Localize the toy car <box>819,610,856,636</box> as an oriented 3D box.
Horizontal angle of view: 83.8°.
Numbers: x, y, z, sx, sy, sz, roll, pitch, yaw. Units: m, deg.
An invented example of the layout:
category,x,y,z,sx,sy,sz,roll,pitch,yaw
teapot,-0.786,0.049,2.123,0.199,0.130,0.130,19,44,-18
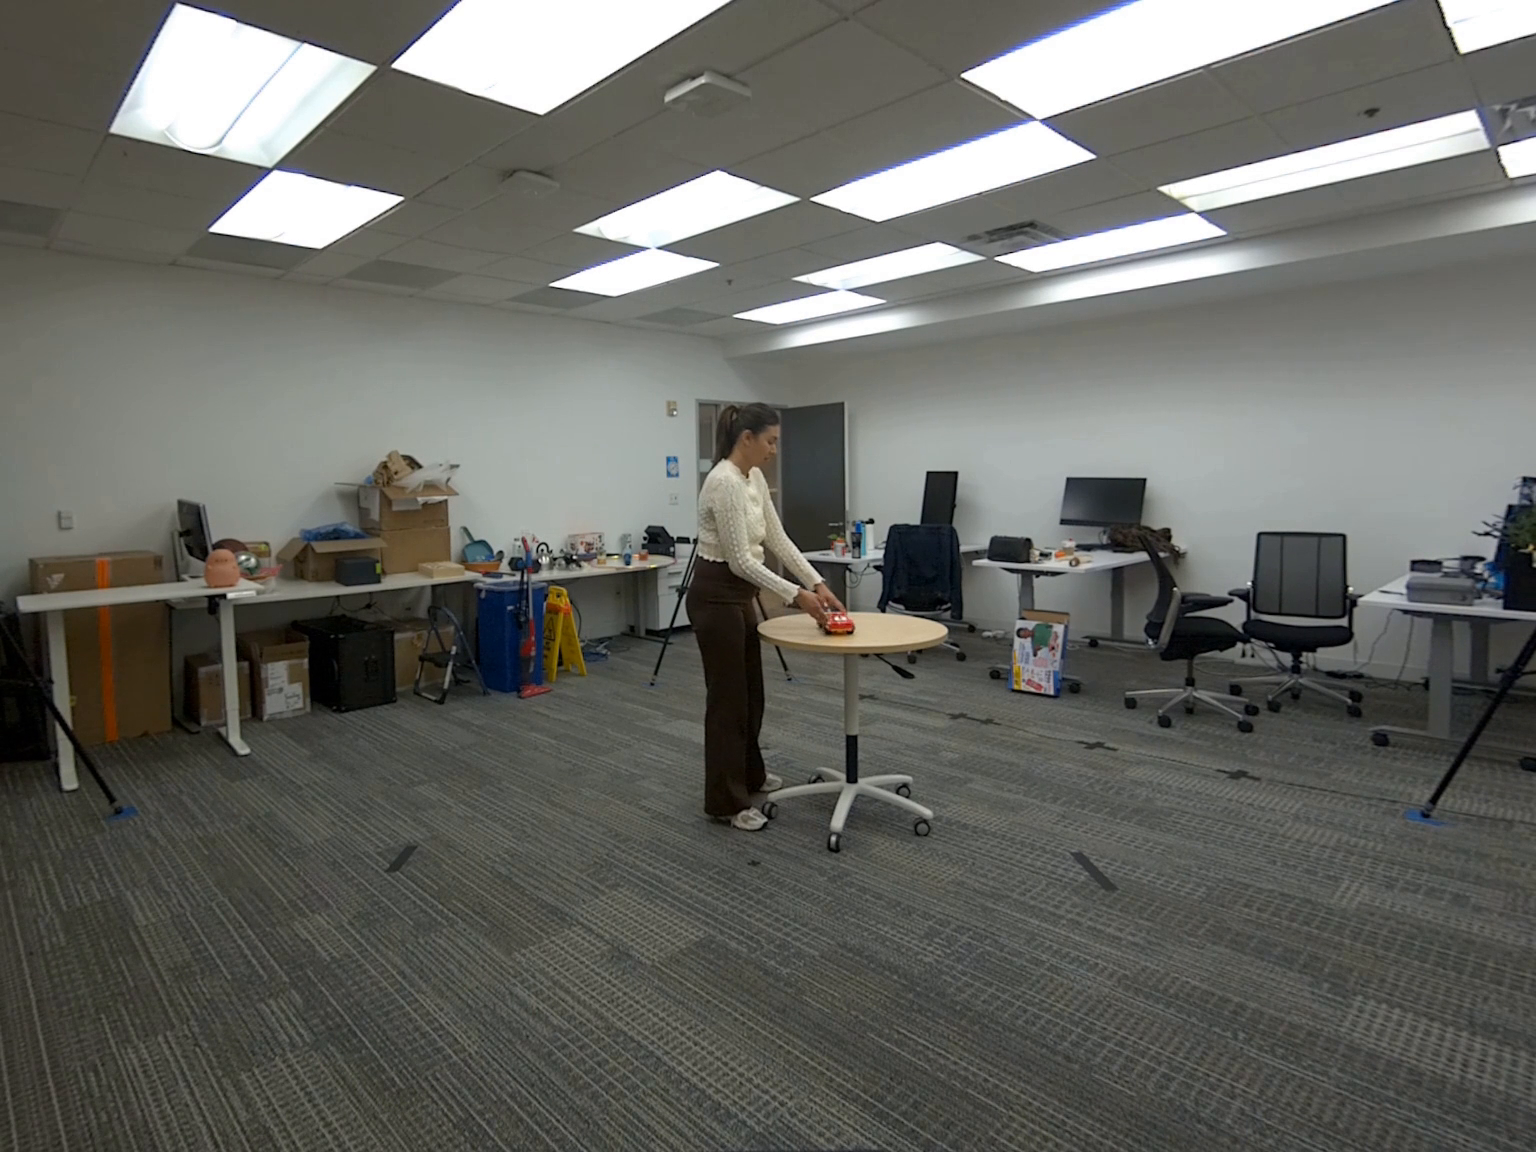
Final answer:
category,x,y,z,sx,sy,sz,roll,pitch,yaw
toy car,0.270,0.188,3.400,0.129,0.083,0.255,0,-4,-7
